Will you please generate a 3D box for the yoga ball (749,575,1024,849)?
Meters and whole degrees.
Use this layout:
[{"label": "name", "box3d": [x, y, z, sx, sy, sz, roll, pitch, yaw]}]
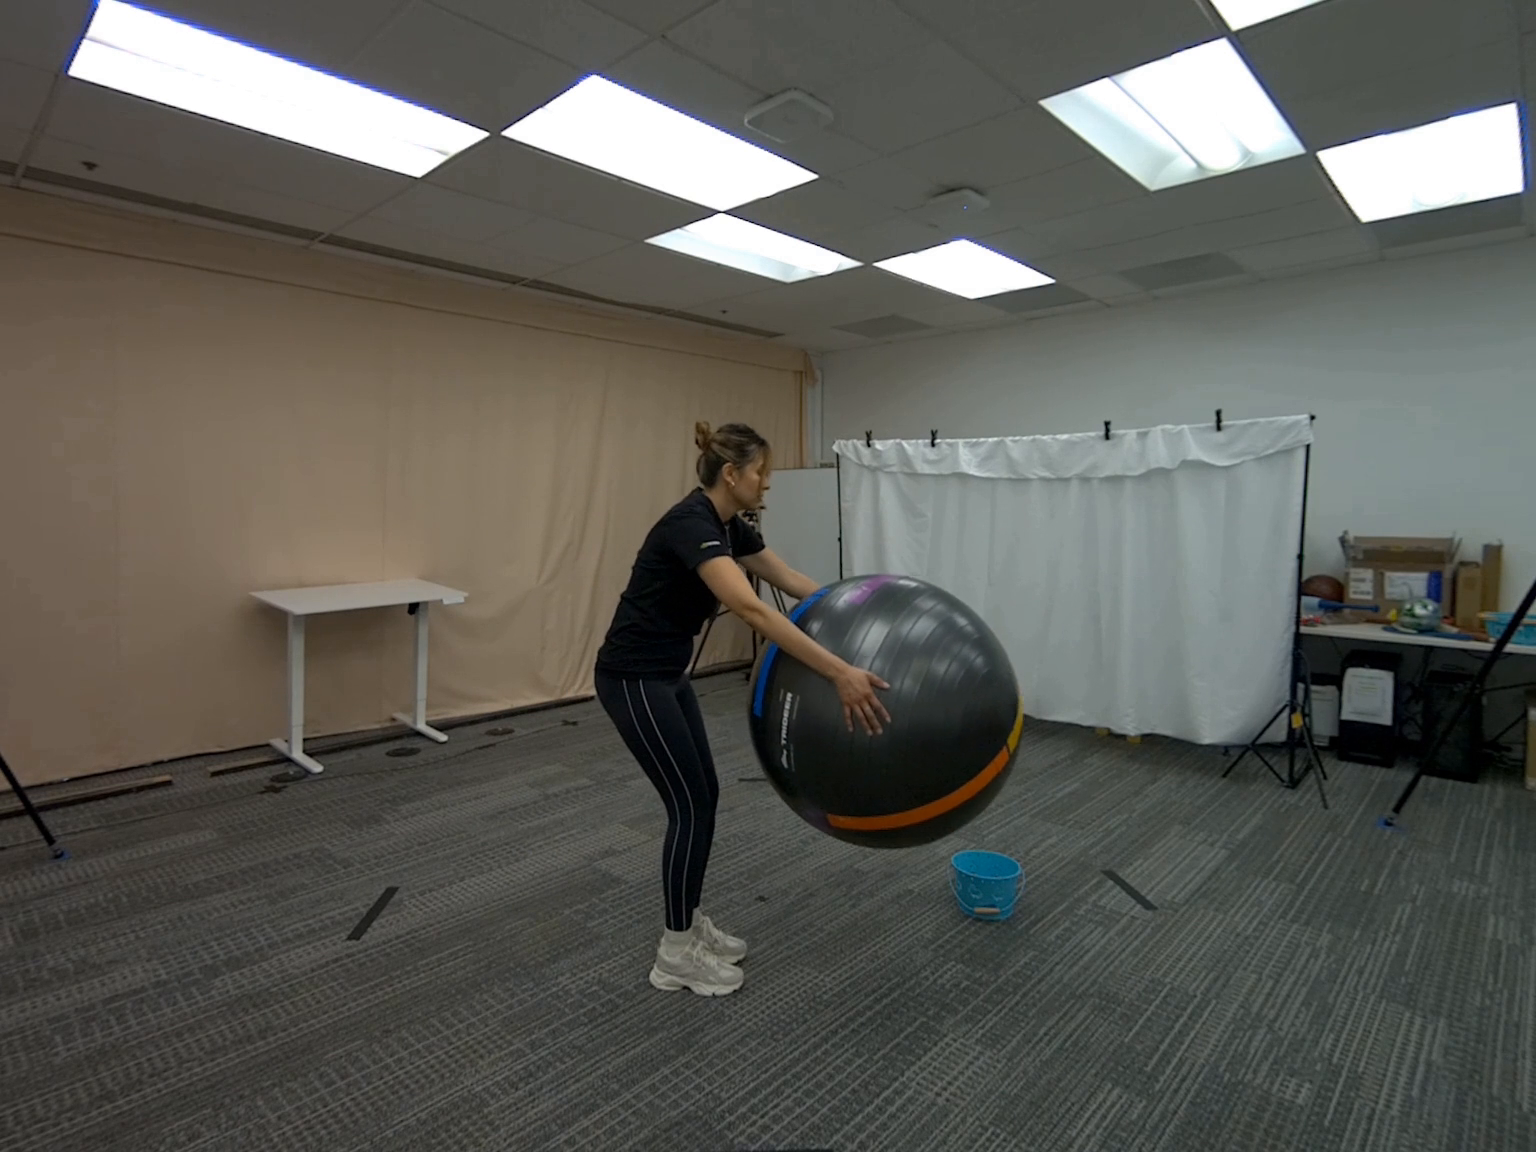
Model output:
[{"label": "yoga ball", "box3d": [0.325, 0.380, 2.383, 0.757, 0.756, 0.761, 0, 4, -2]}]
